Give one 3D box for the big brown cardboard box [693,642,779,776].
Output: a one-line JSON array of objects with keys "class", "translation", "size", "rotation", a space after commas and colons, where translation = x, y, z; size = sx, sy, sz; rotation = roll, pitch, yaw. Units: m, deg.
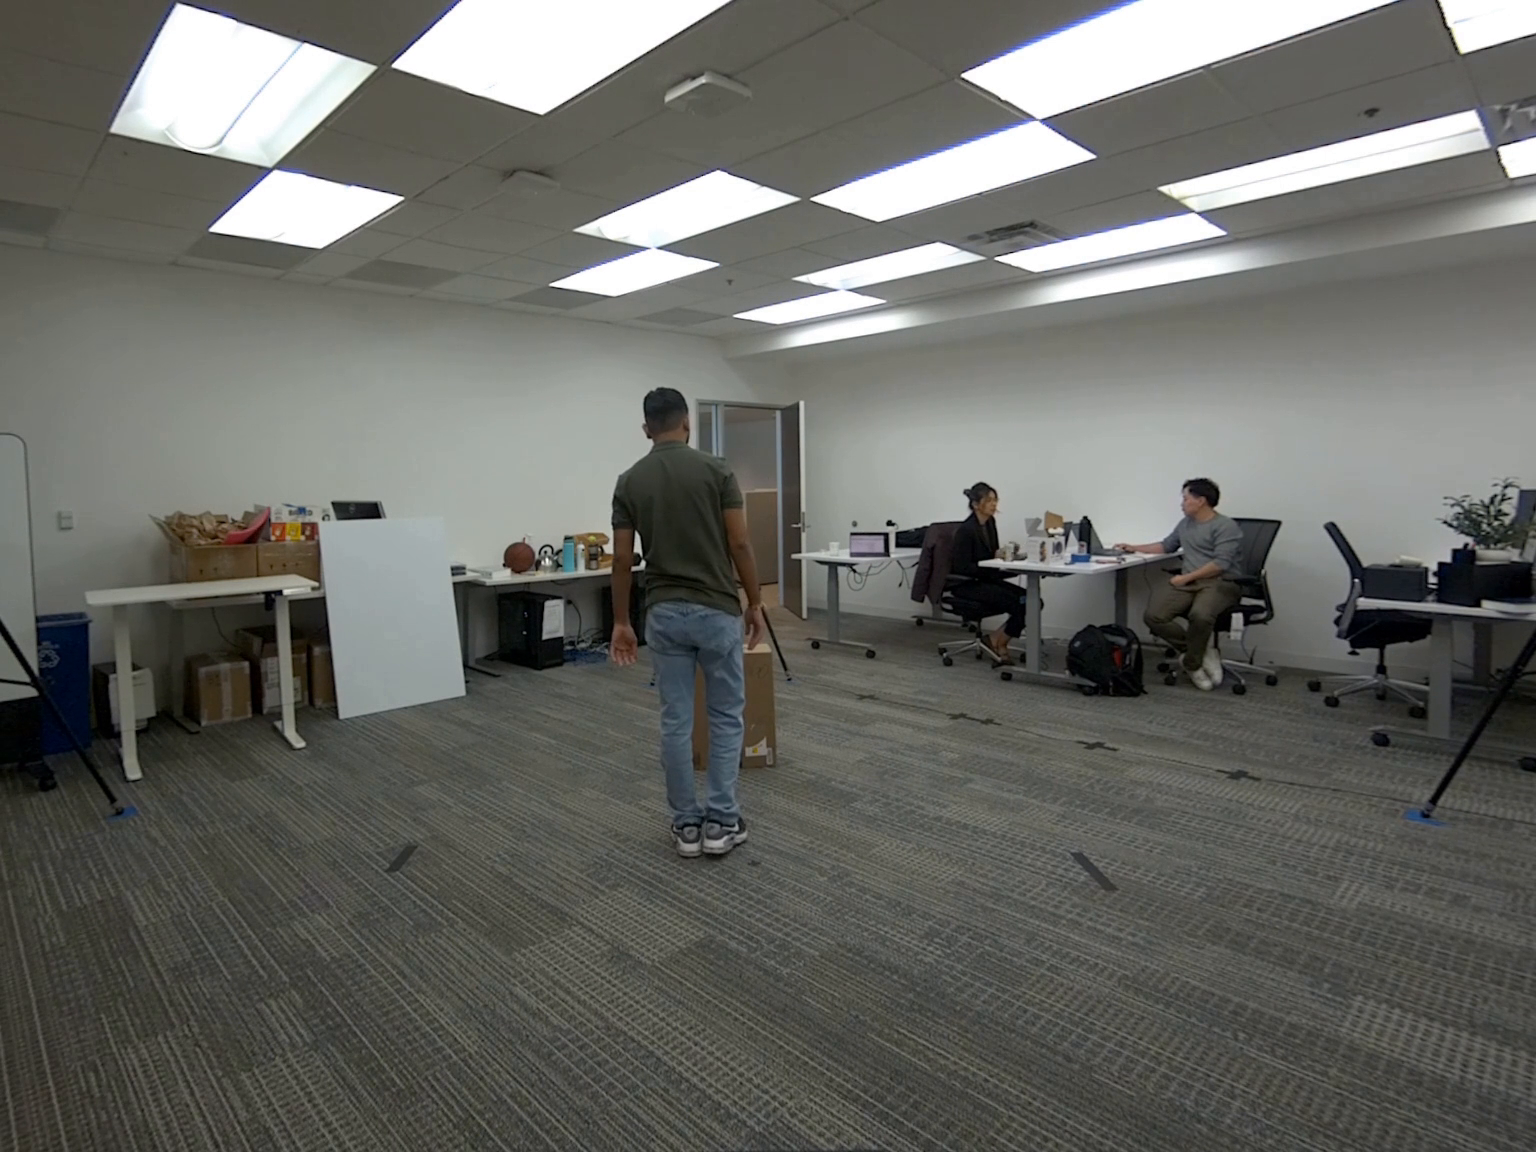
[{"class": "big brown cardboard box", "translation": [-0.182, 0.645, 4.229], "size": [0.416, 0.587, 0.234], "rotation": [-2, 3, -4]}]
